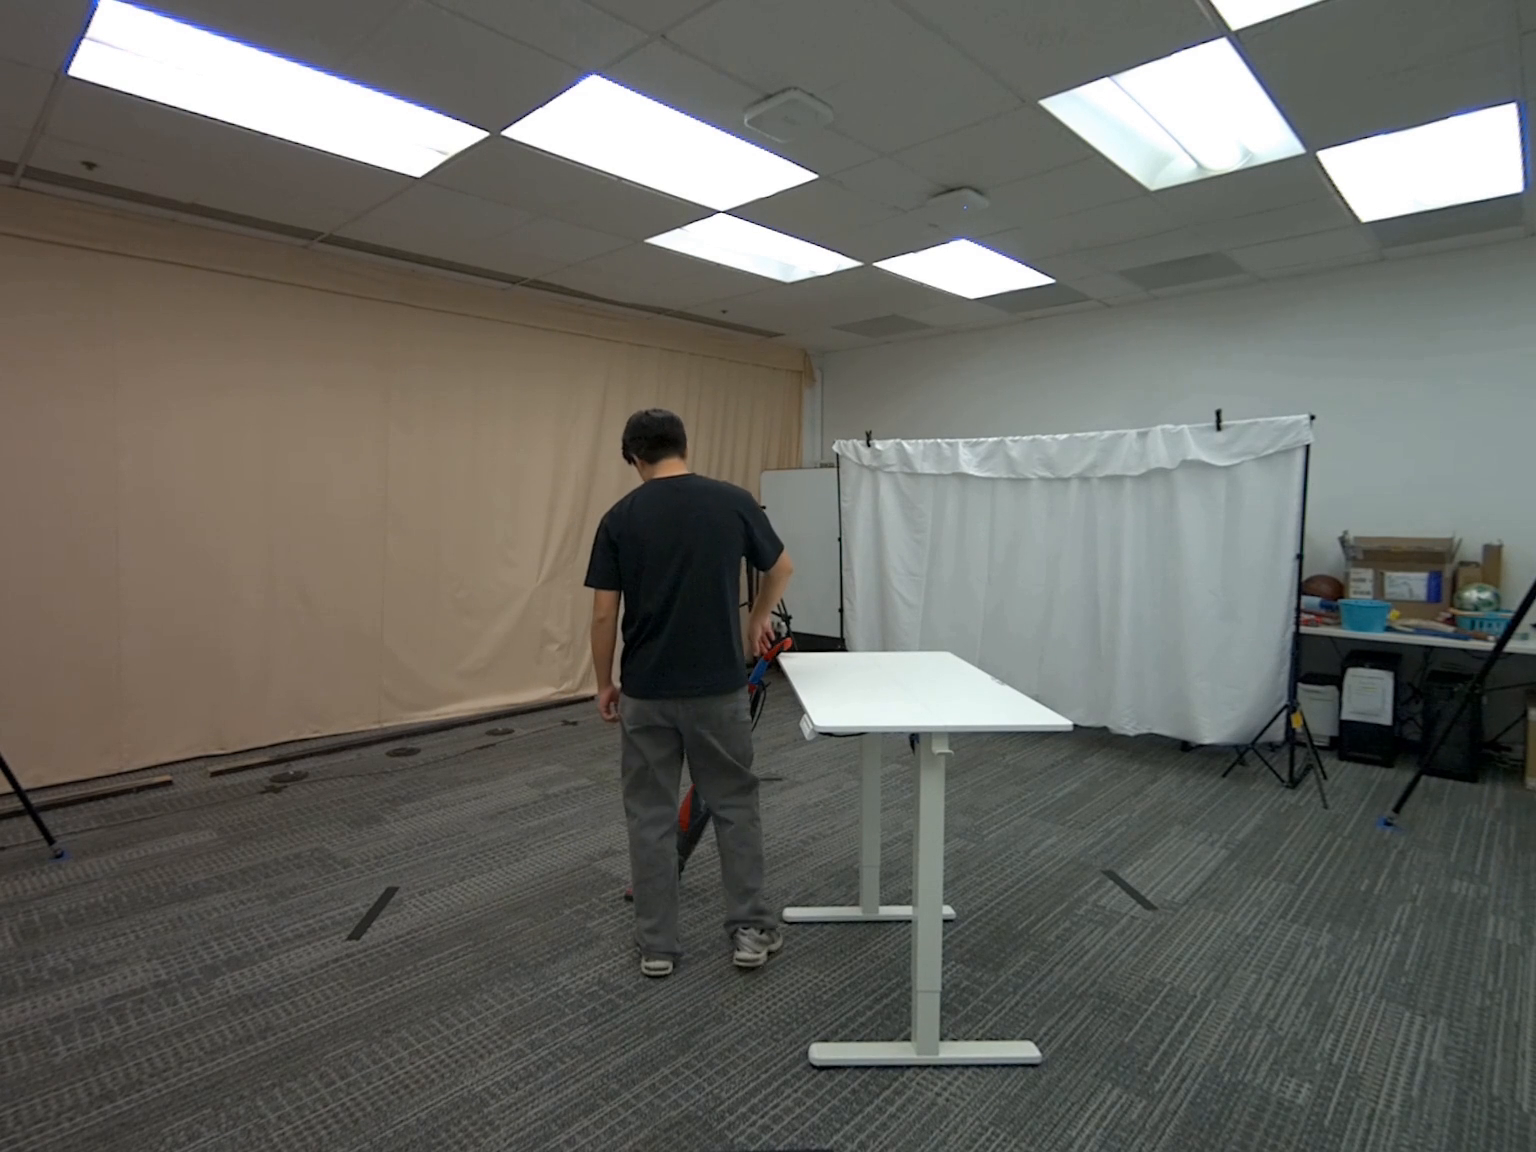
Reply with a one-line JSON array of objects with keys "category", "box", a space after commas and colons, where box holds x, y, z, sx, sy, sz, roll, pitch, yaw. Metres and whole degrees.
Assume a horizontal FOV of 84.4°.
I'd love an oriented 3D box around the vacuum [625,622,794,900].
[{"category": "vacuum", "box": [-0.176, 0.682, 2.965, 0.148, 1.048, 0.246, 33, 14, 22]}]
